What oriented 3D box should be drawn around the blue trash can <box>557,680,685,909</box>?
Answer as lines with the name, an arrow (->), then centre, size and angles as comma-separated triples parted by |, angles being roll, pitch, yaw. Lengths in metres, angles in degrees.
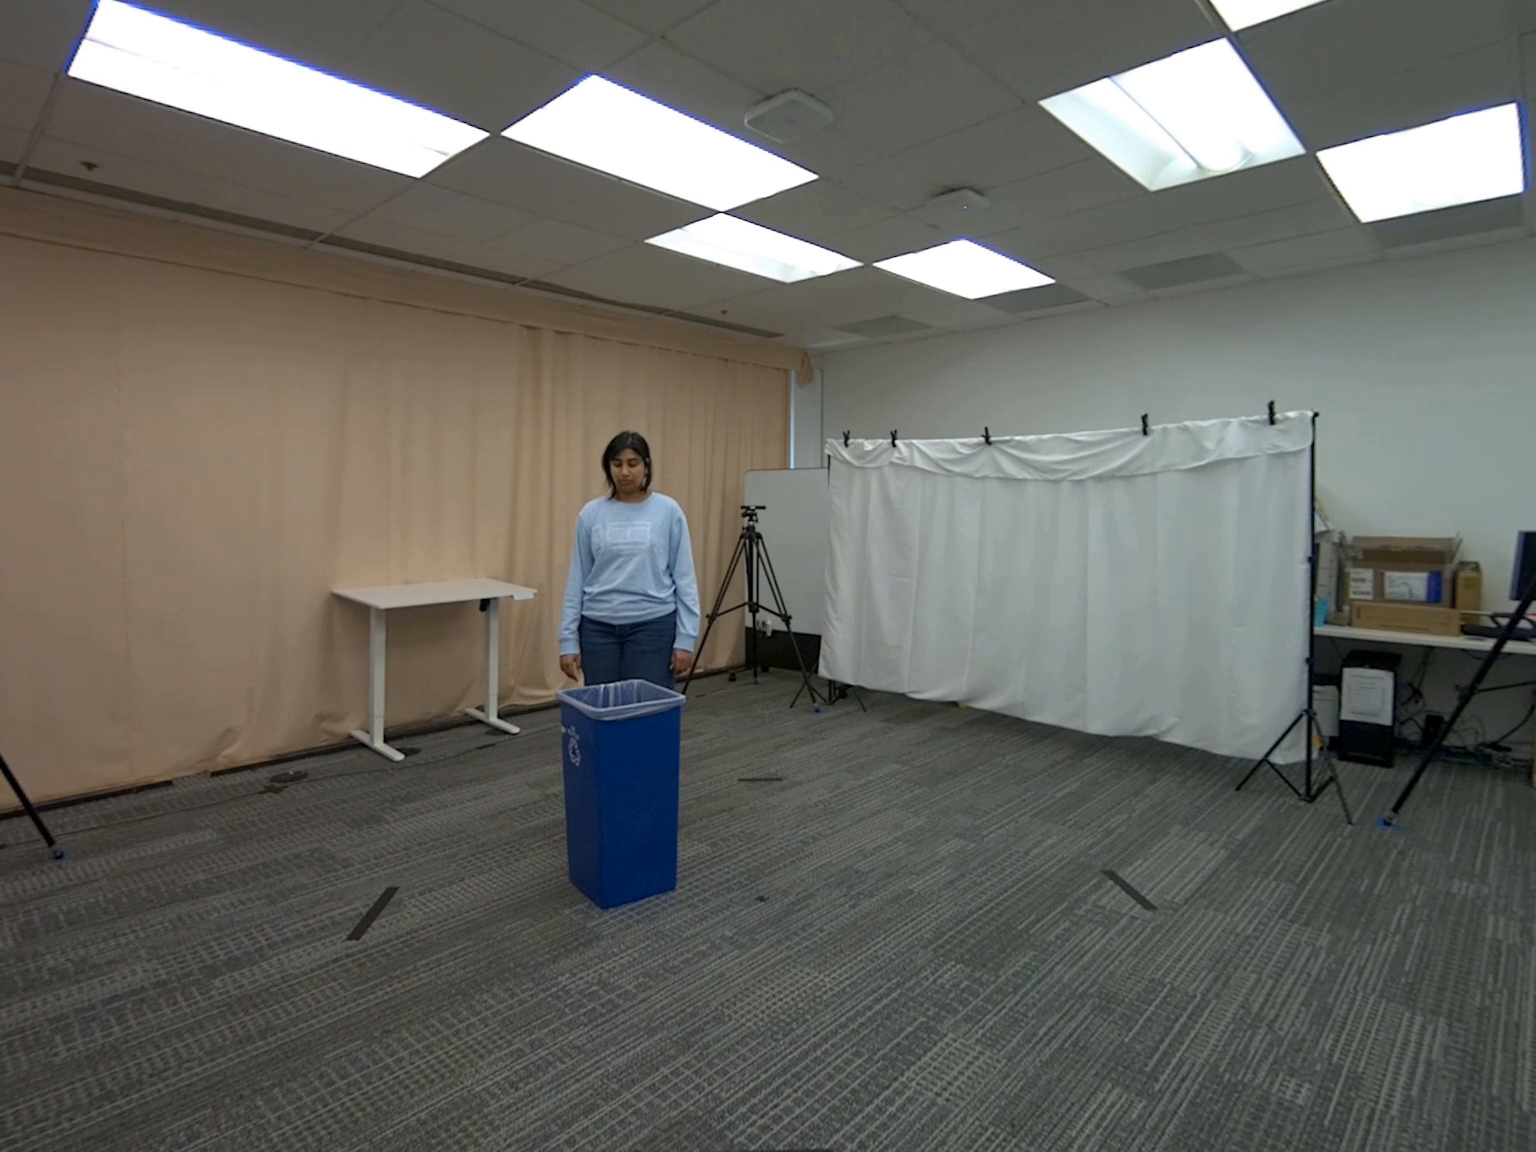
blue trash can -> -0.533, 0.781, 3.086 | 0.367, 0.712, 0.386 | -3, 4, -35
